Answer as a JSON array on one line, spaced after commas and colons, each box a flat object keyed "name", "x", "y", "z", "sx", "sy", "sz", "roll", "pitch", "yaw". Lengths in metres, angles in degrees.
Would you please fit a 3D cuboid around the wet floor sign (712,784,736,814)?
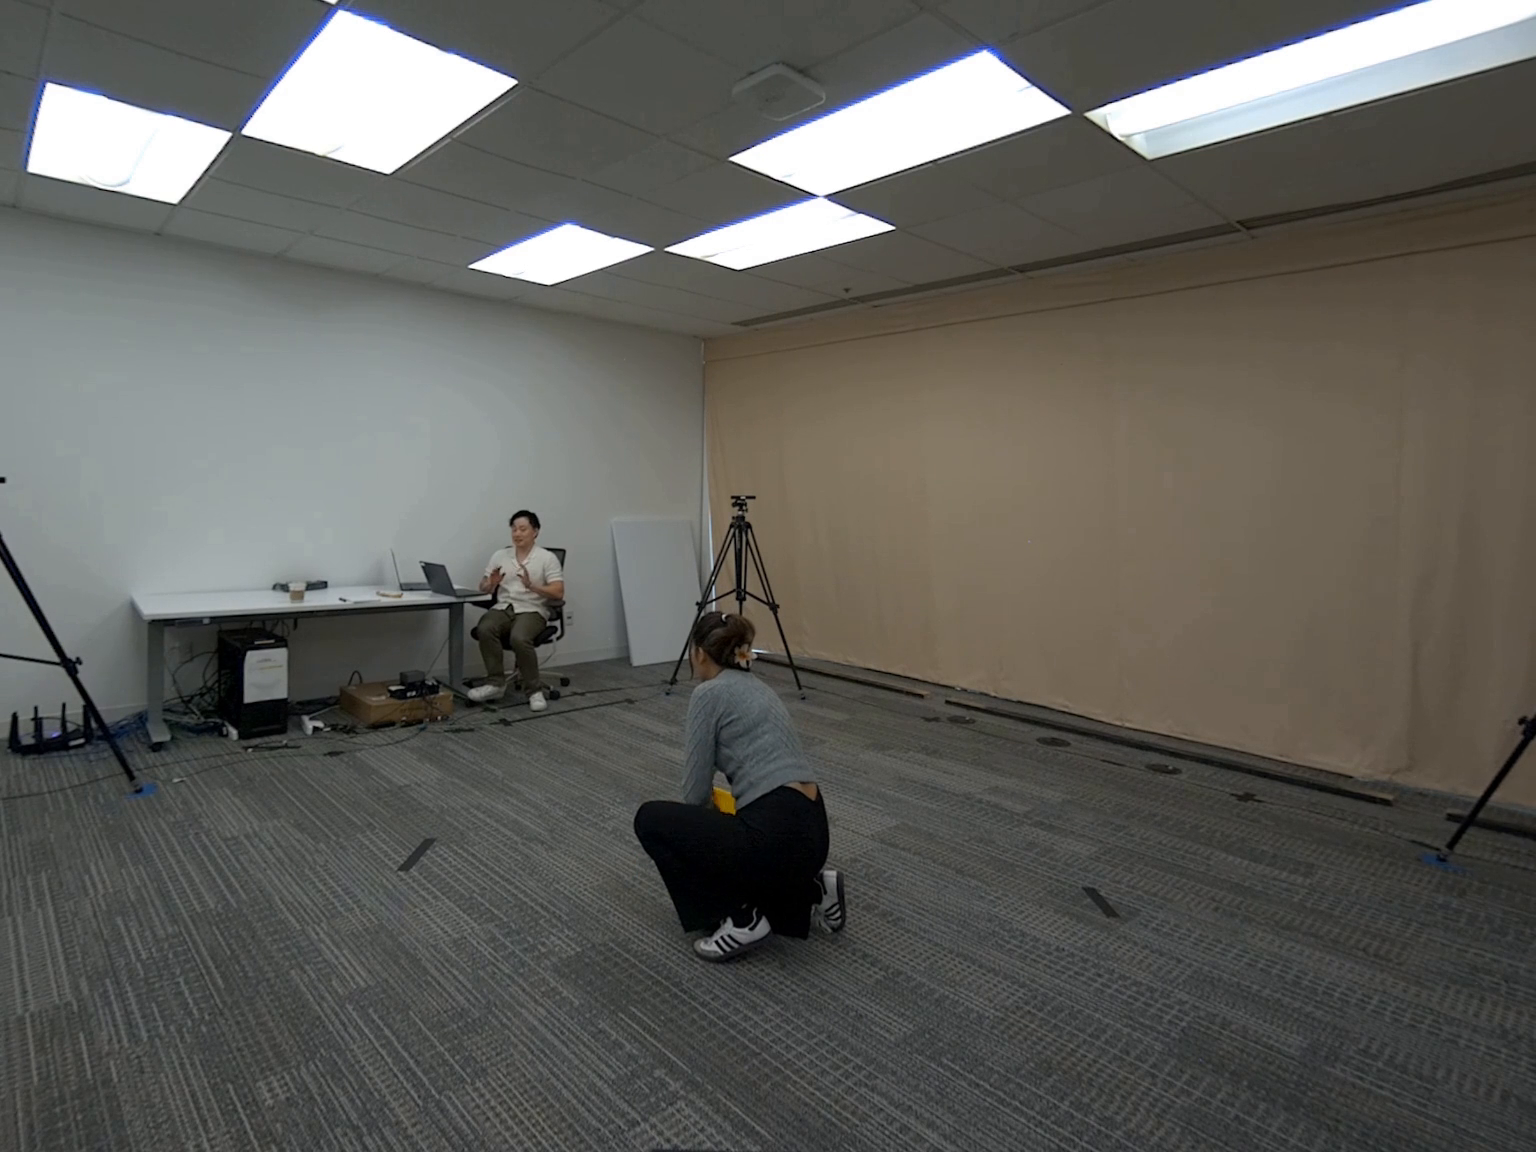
[{"name": "wet floor sign", "x": -0.194, "y": 0.973, "z": 3.213, "sx": 0.285, "sy": 0.282, "sz": 0.657, "roll": 1, "pitch": 2, "yaw": -21}]
